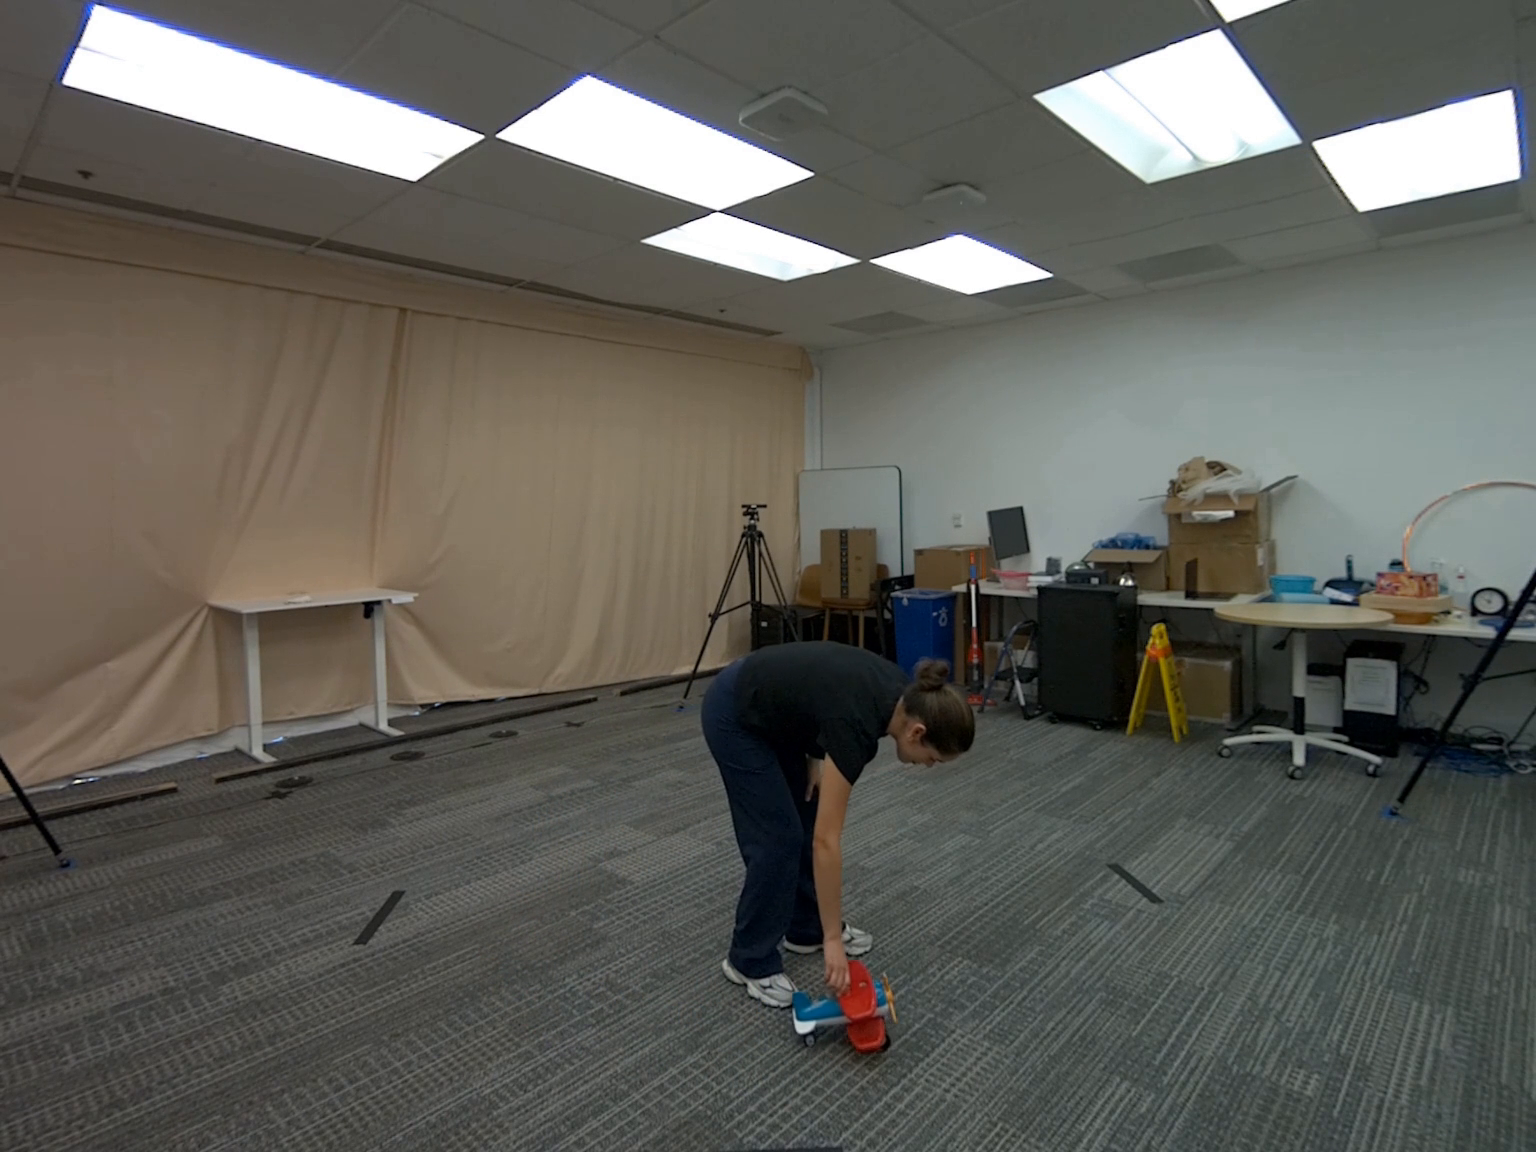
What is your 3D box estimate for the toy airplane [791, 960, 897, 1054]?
[{"bbox_3d":[0.216,1.132,2.169,0.252,0.156,0.258,-3,3,-29],"label":"toy airplane"}]
